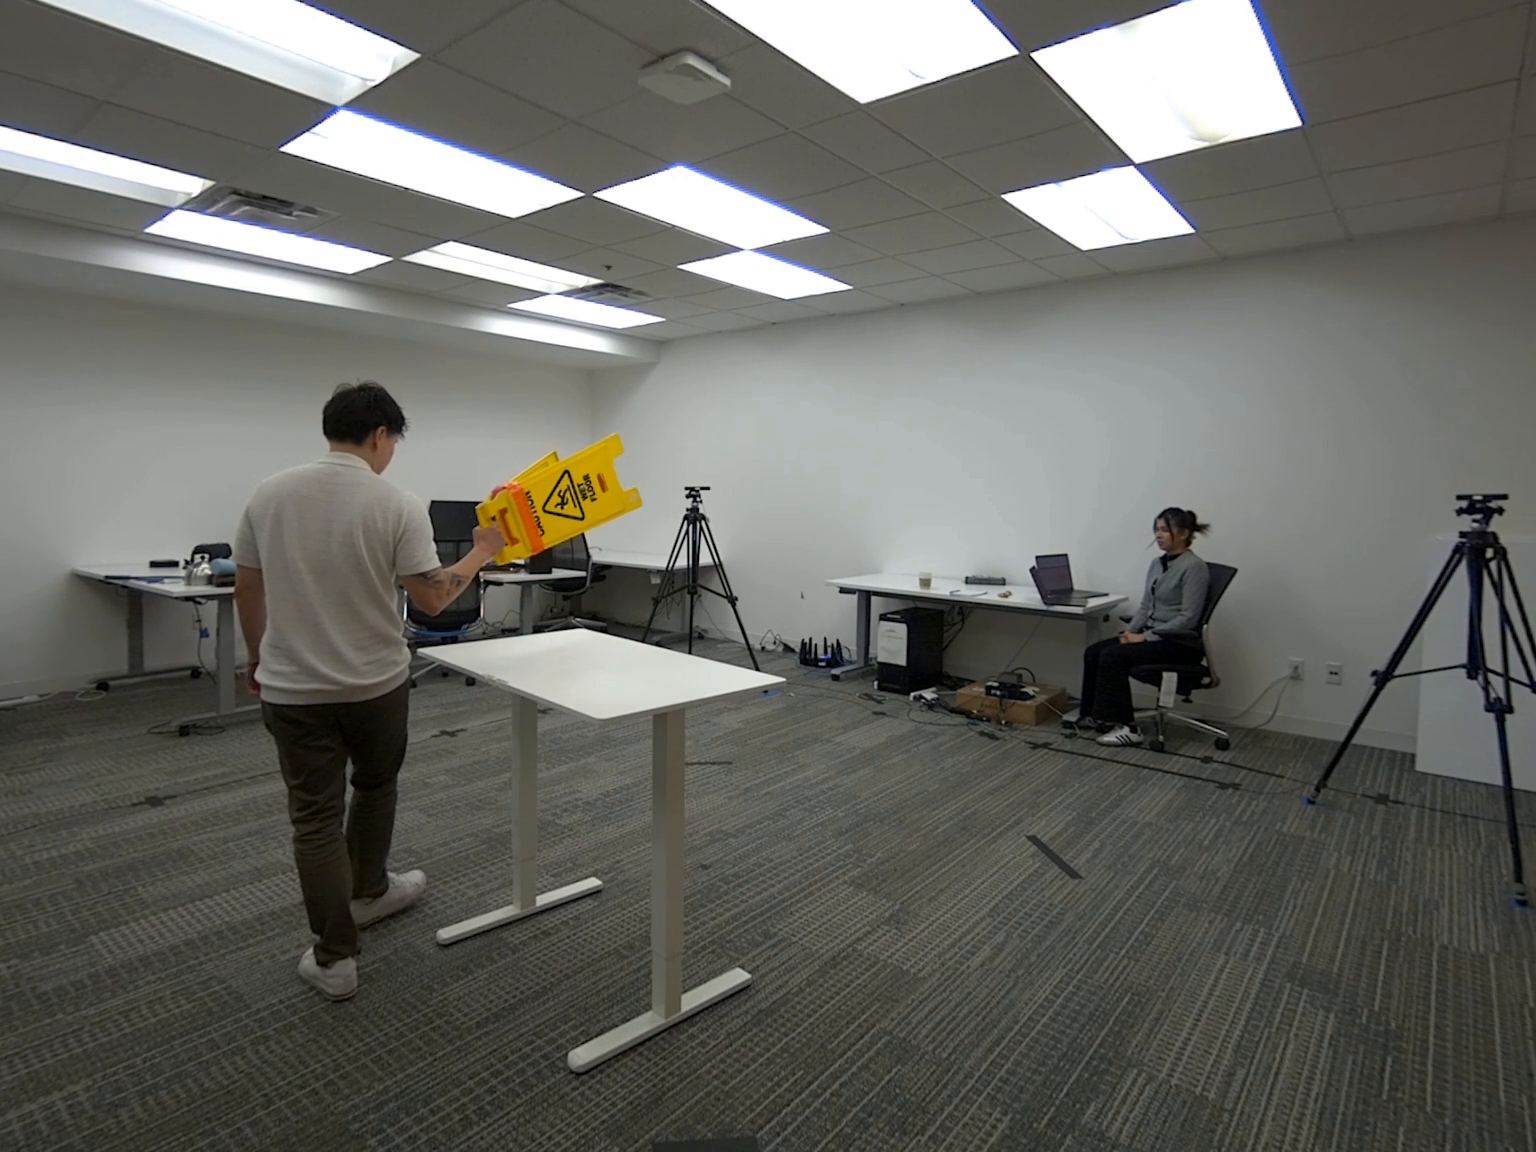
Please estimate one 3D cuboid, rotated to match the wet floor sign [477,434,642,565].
[{"bbox_3d":[-0.740,-0.239,2.849,0.296,0.277,0.644,-11,17,26],"label":"wet floor sign"}]
